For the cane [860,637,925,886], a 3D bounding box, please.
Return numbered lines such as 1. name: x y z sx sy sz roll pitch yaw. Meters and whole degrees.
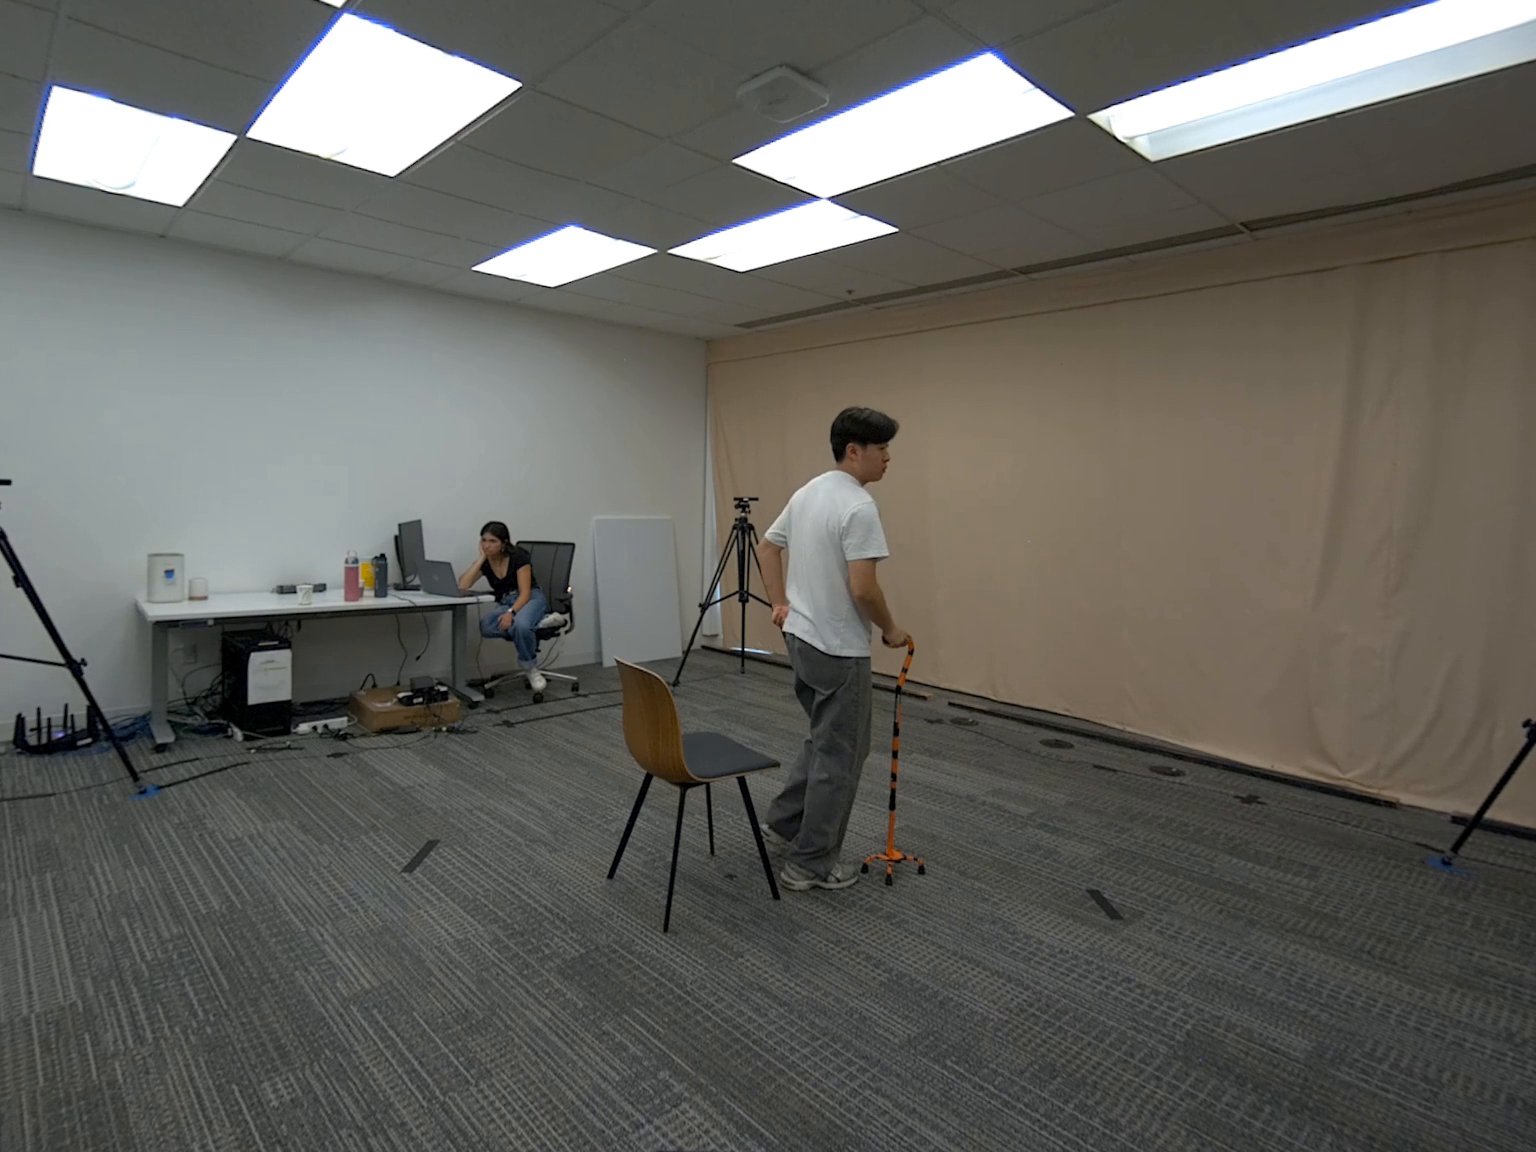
1. cane: 0.490 0.664 3.126 0.202 0.905 0.155 0 5 -39
